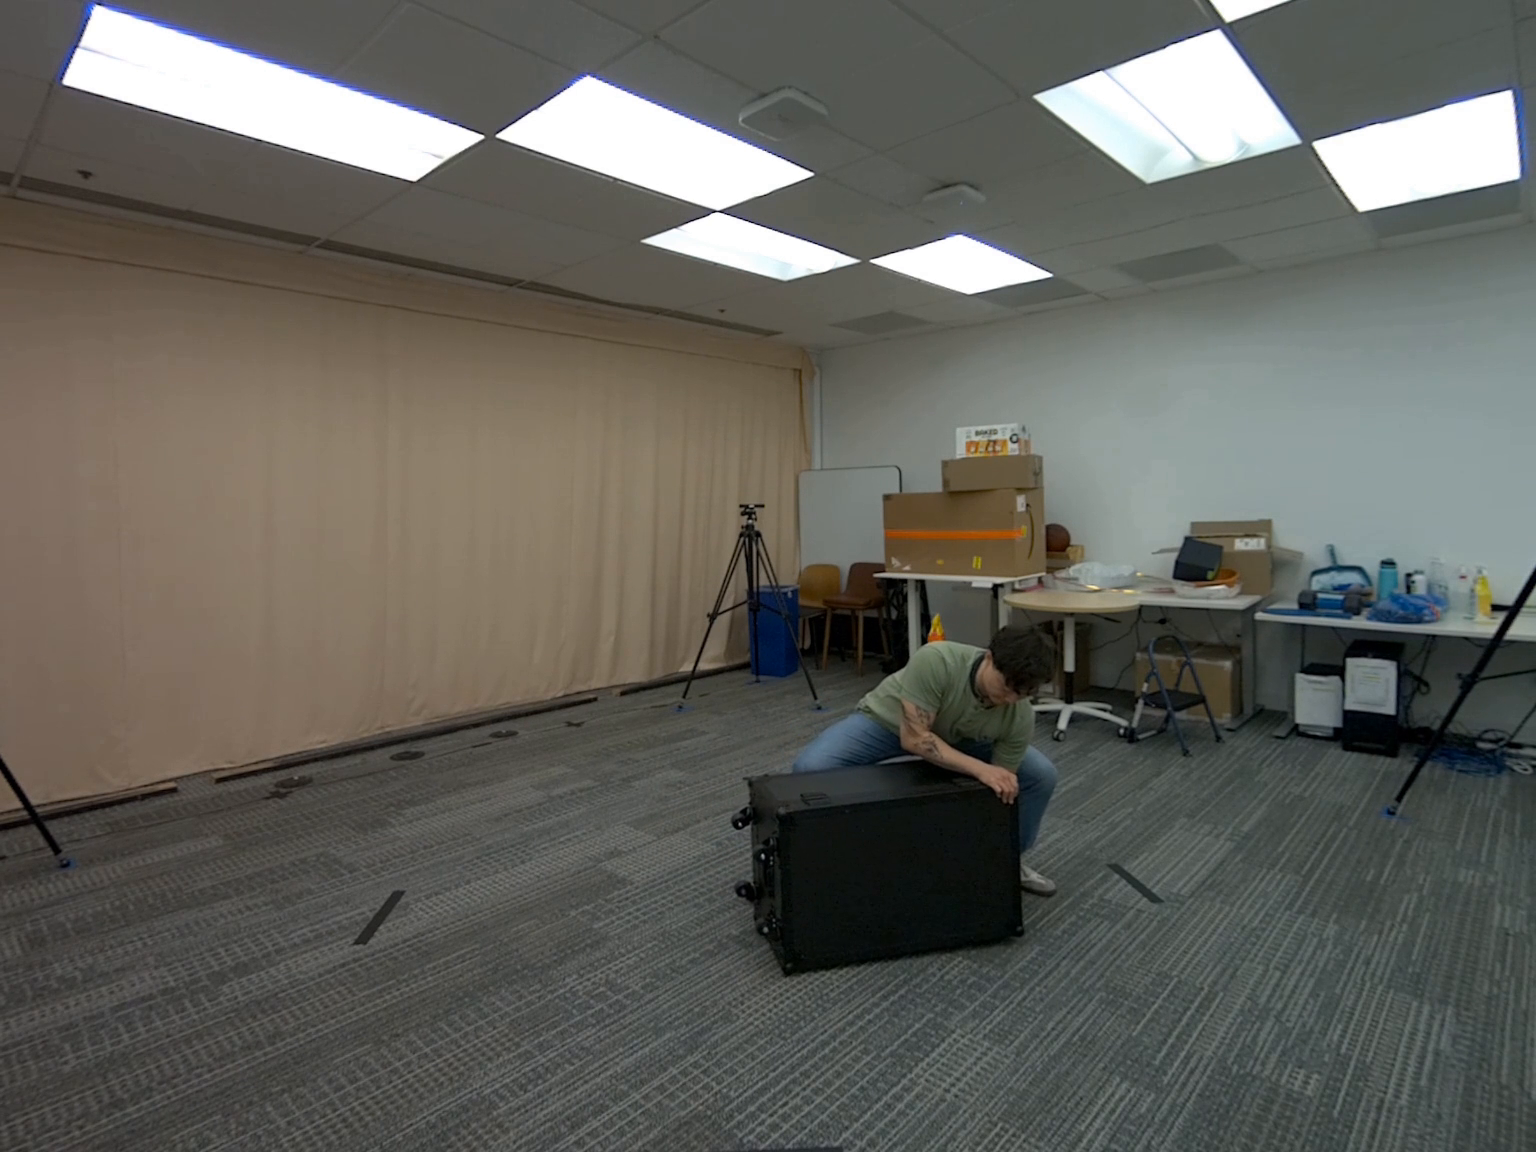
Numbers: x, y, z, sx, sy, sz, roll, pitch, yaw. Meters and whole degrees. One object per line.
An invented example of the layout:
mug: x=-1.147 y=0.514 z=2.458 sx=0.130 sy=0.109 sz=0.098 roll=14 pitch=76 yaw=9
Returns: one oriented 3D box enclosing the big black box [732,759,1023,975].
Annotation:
big black box: x=0.333 y=0.891 z=2.721 sx=0.851 sy=0.520 sz=0.402 roll=-3 pitch=2 yaw=-12
